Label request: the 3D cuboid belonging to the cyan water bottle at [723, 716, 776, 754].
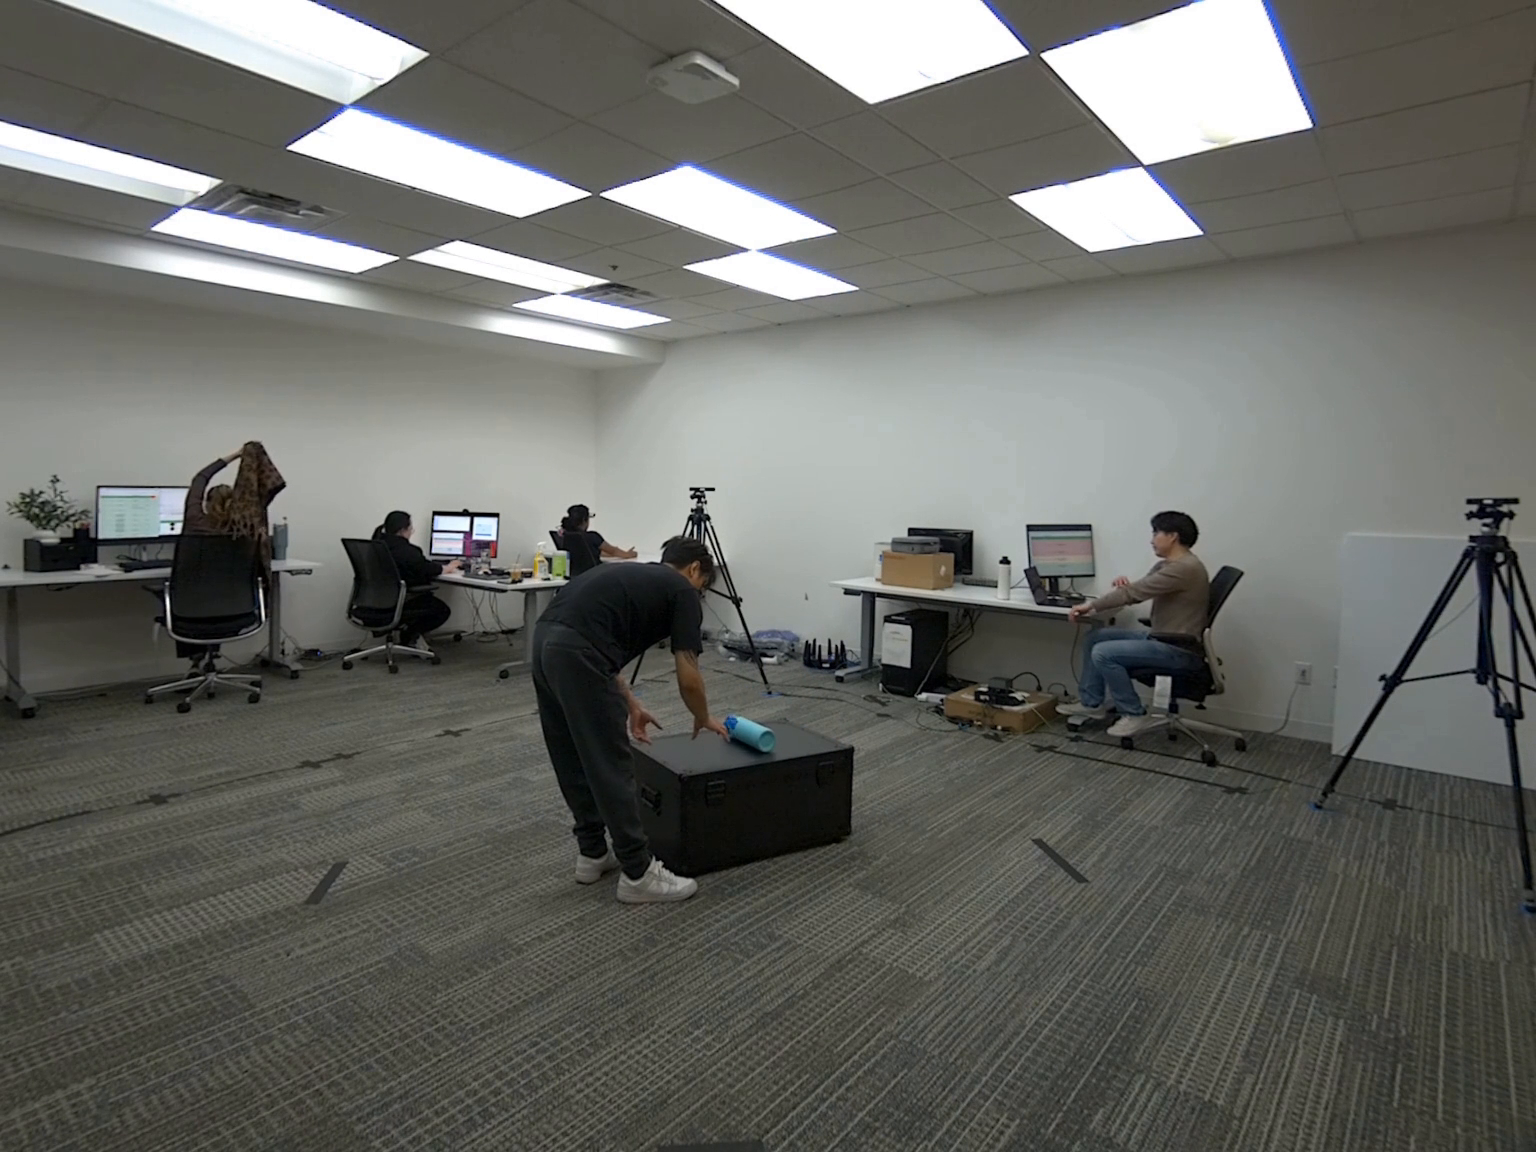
[{"bbox_3d":[-0.095,0.615,3.401,0.090,0.092,0.293,-2,6,-35],"label":"cyan water bottle"}]
